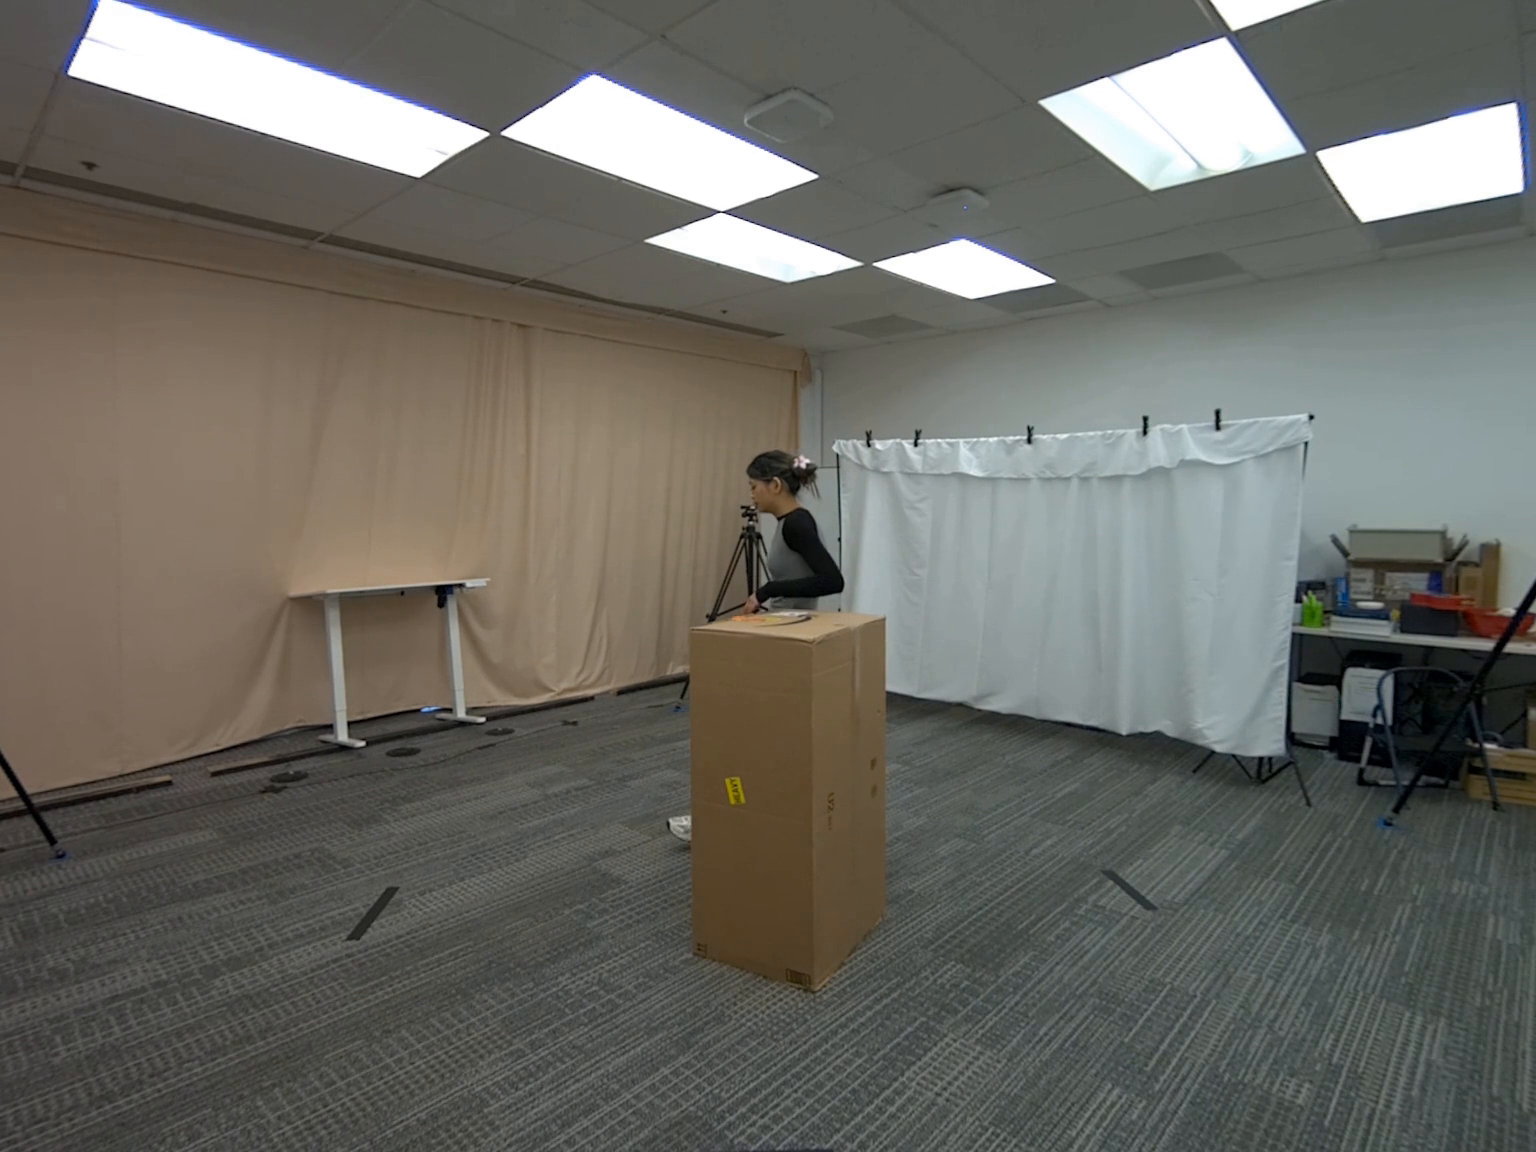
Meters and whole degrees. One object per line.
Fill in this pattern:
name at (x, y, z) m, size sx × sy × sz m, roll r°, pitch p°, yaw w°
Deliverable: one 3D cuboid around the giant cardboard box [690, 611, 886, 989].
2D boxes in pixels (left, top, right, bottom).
giant cardboard box at (0.083, 0.654, 2.725) m, size 0.439 × 1.024 × 0.562 m, roll 2°, pitch 4°, yaw 31°
